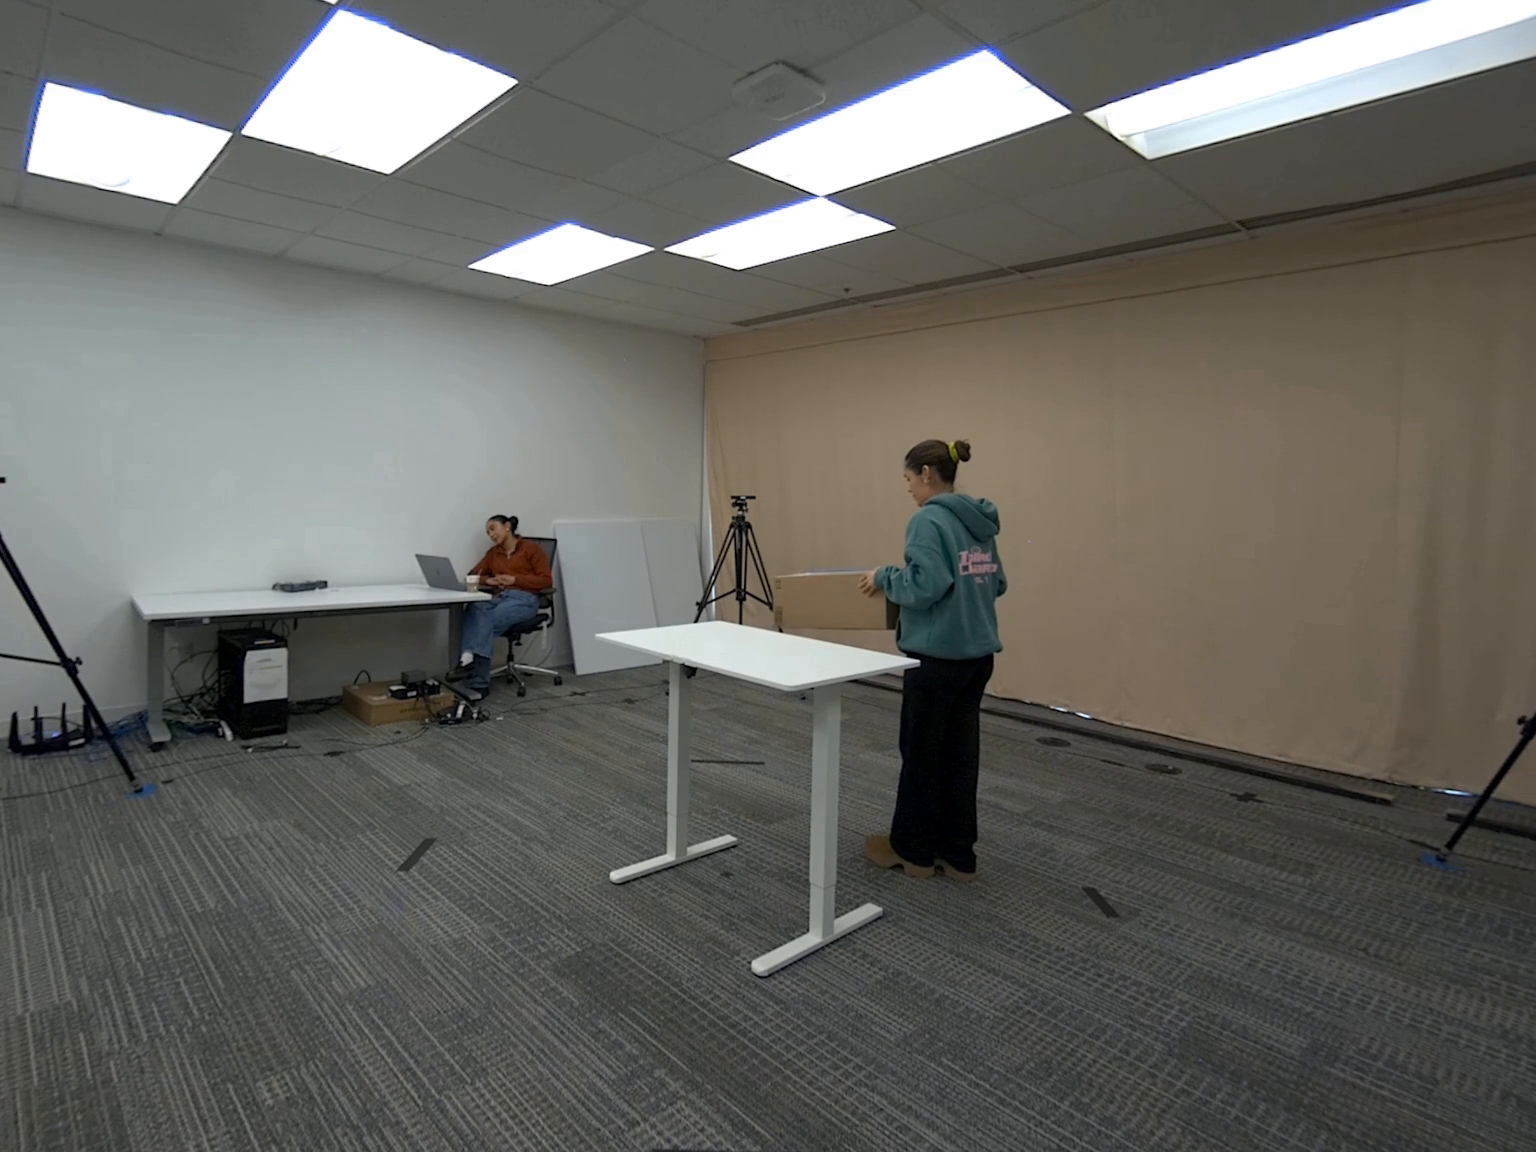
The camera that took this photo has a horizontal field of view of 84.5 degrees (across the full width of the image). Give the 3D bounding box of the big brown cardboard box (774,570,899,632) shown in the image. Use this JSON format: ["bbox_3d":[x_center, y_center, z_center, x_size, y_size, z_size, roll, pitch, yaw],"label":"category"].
[{"bbox_3d":[0.355,0.102,3.455,0.602,0.233,0.407,-1,-1,44],"label":"big brown cardboard box"}]
